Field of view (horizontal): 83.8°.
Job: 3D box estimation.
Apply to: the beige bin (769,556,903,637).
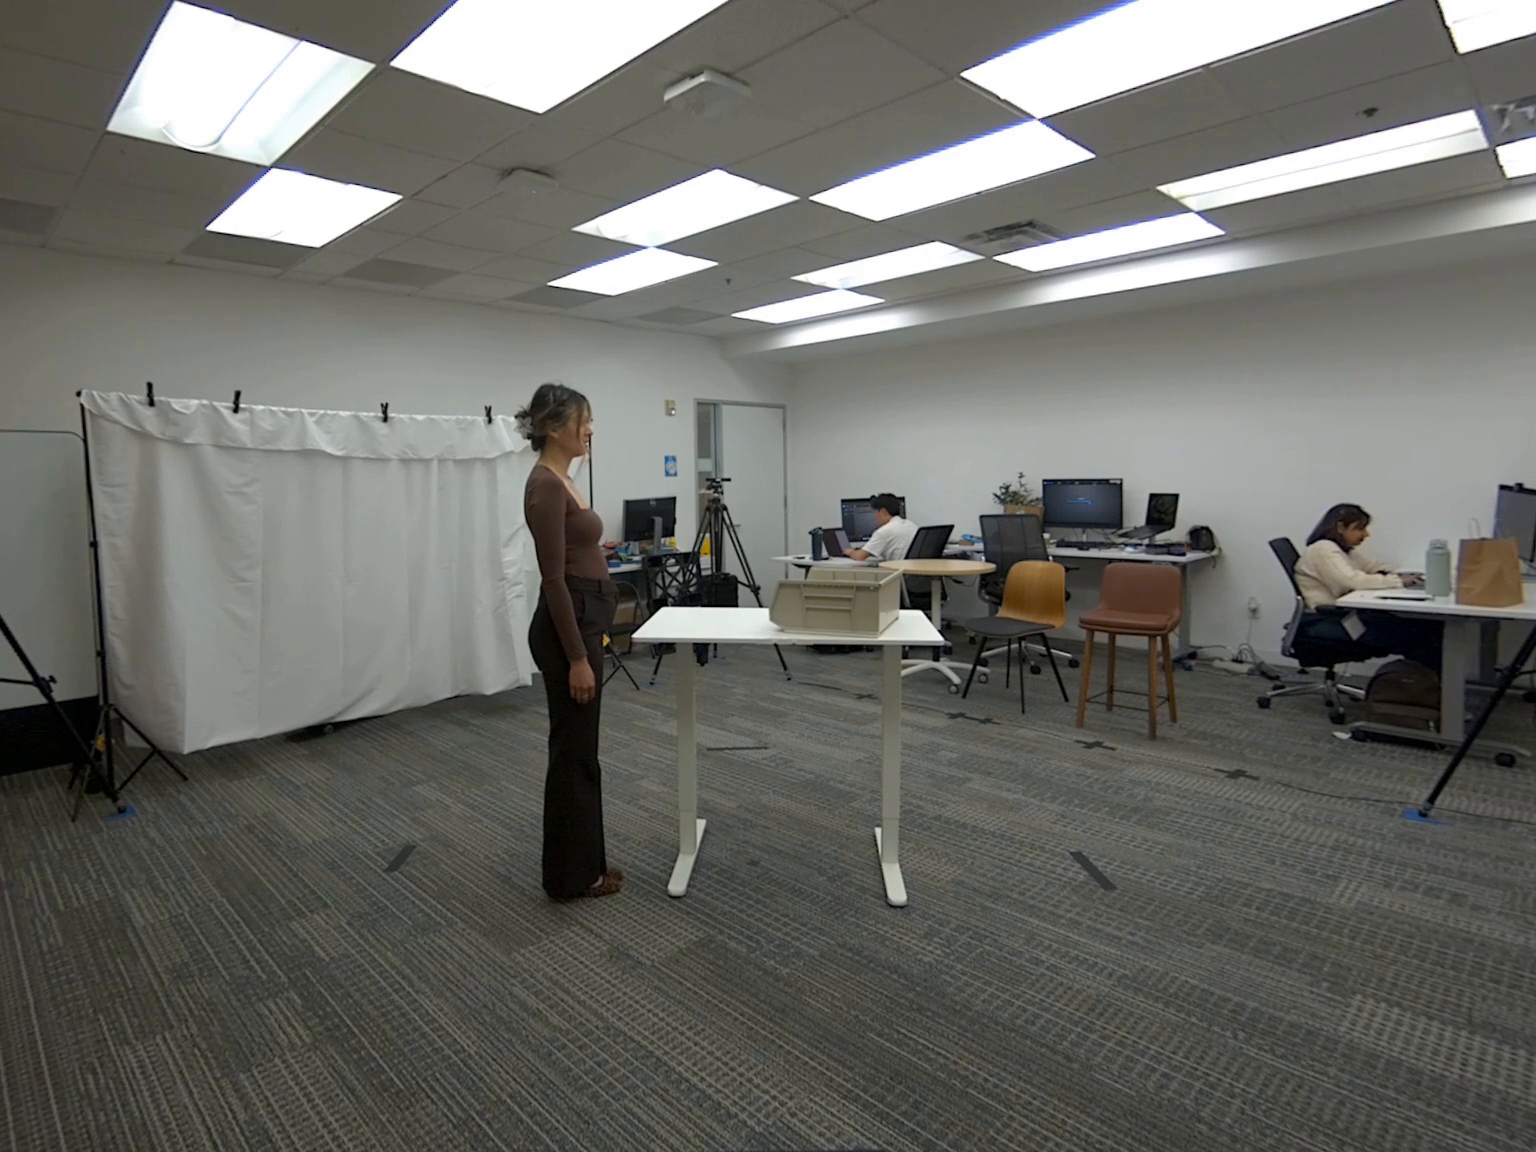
[{"bbox_3d":[0.248,0.083,2.968,0.385,0.188,0.416,3,7,19],"label":"beige bin"}]
